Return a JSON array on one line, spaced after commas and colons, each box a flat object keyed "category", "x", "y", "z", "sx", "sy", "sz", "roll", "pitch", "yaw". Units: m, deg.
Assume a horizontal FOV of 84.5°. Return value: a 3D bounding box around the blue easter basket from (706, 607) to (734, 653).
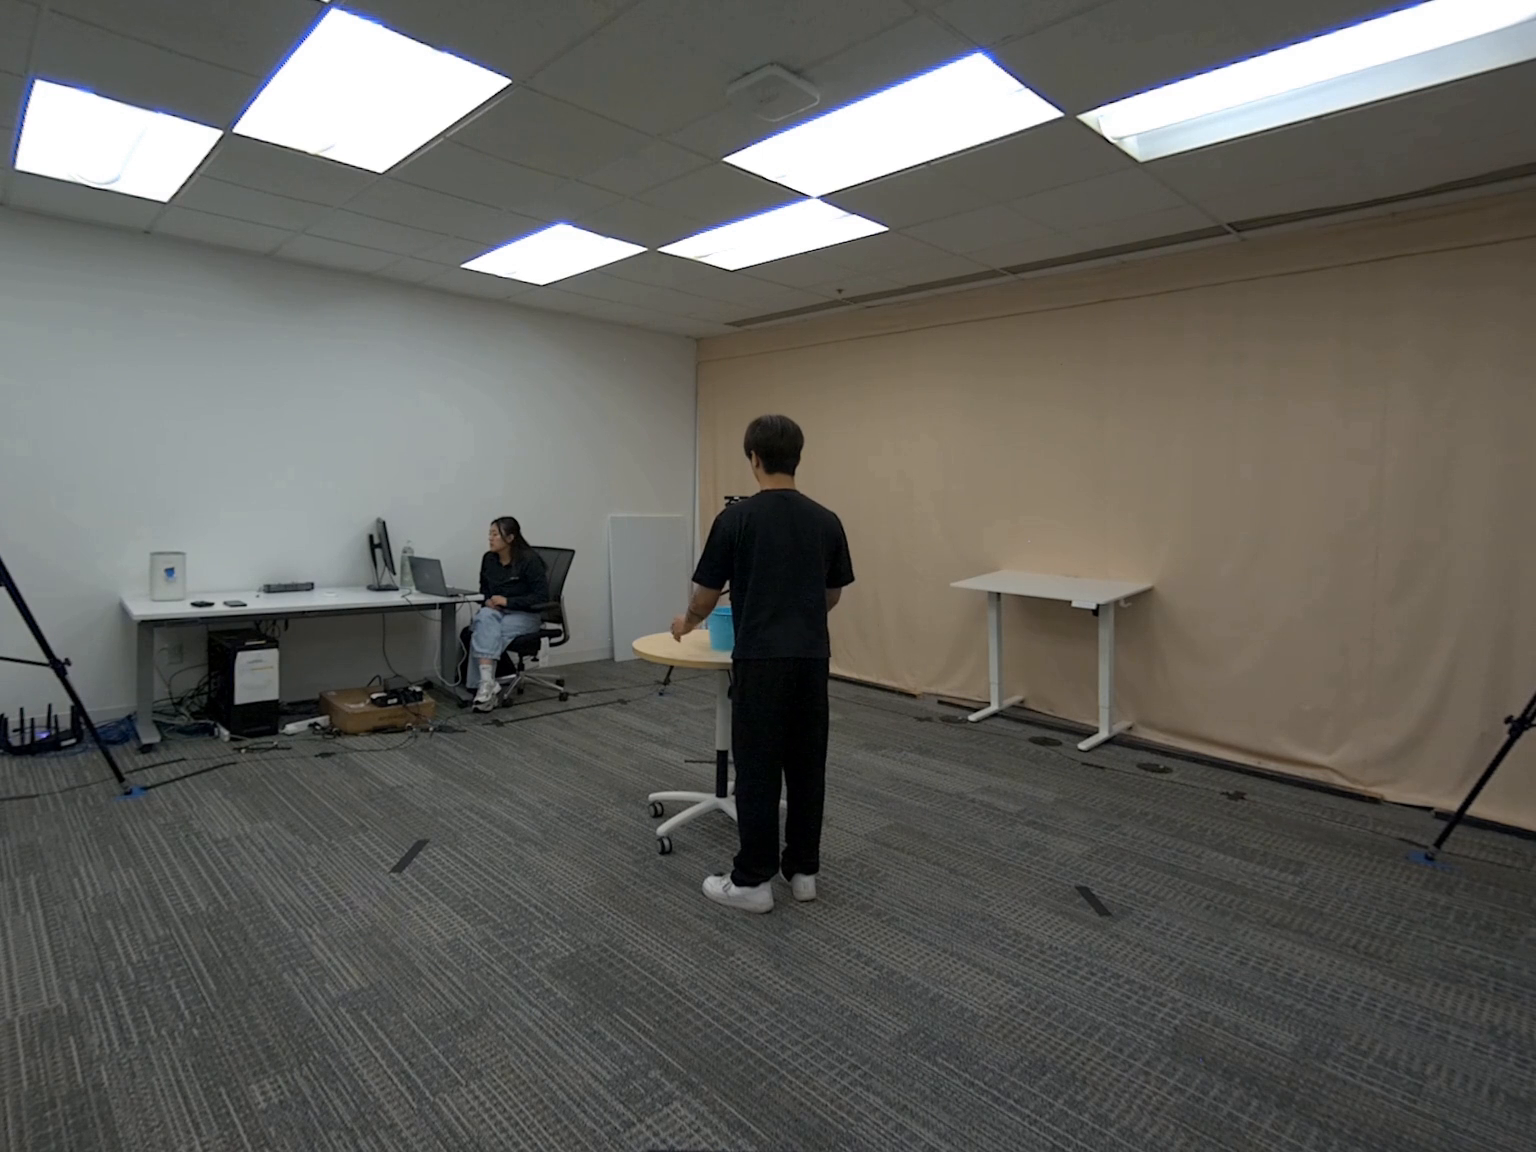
[{"category": "blue easter basket", "x": -0.162, "y": 0.223, "z": 3.439, "sx": 0.243, "sy": 0.155, "sz": 0.244, "roll": 1, "pitch": 3, "yaw": -1}]
